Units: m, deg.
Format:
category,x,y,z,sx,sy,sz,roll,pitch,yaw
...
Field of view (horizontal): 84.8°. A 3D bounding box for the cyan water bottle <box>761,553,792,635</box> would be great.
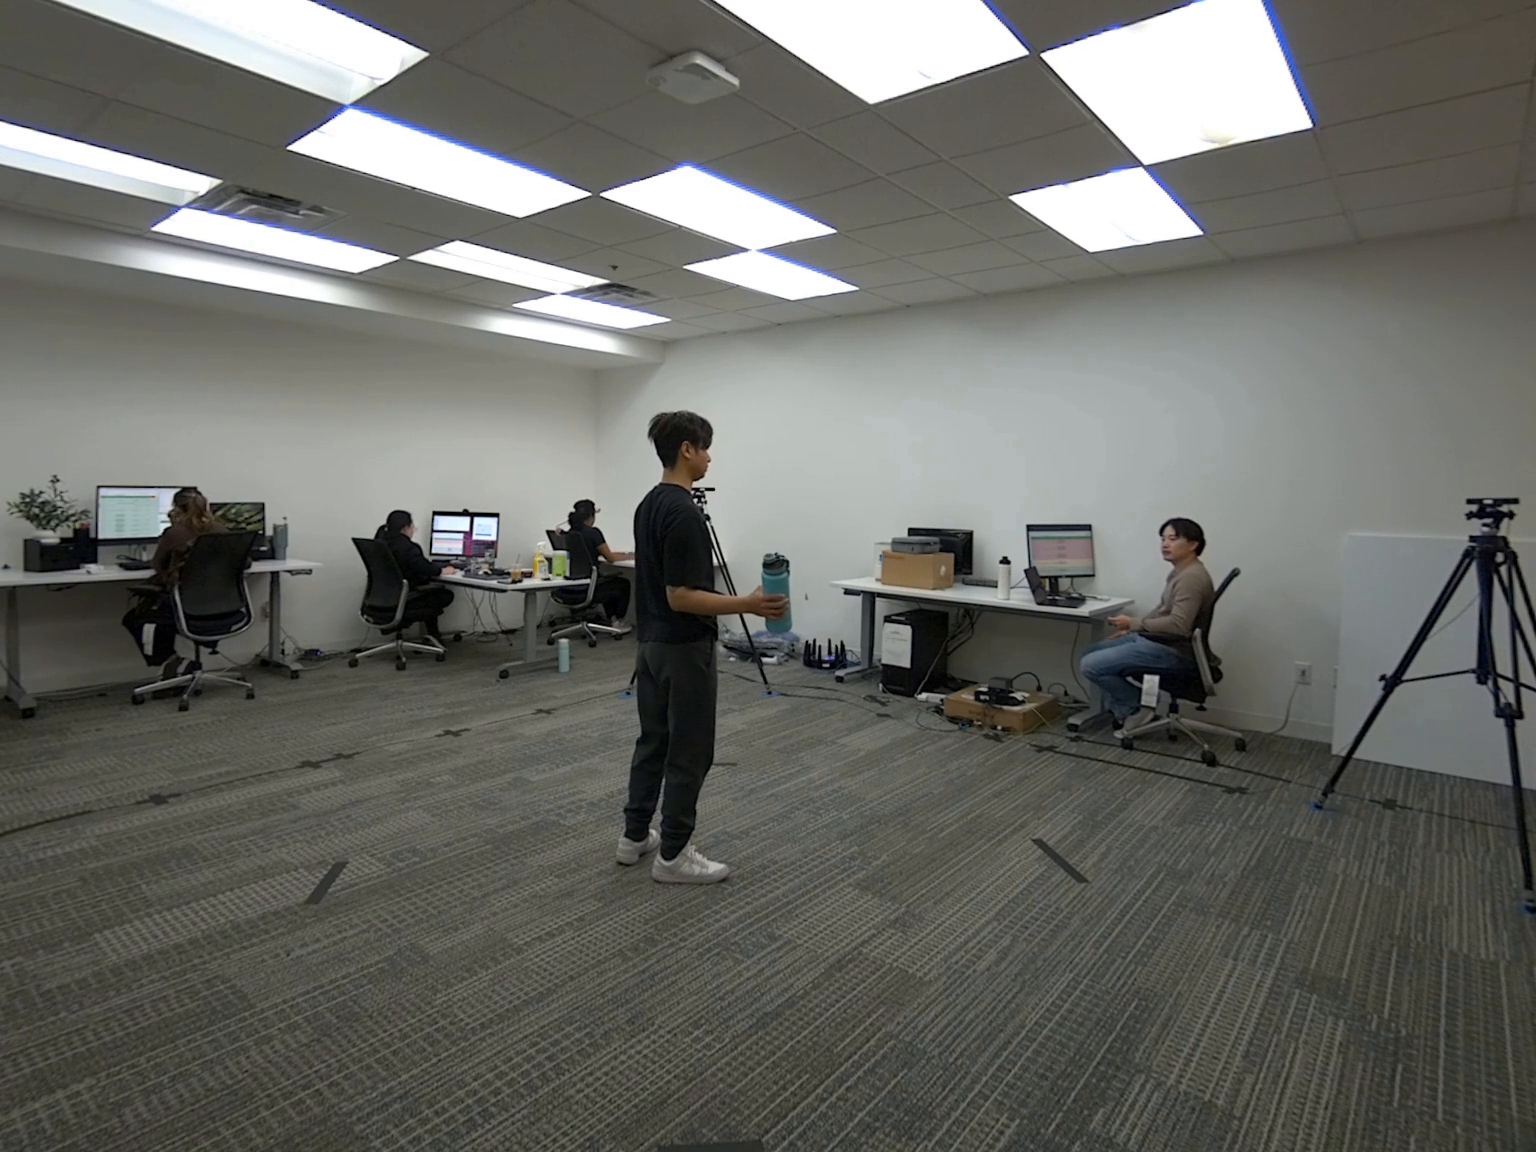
category,x,y,z,sx,sy,sz,roll,pitch,yaw
cyan water bottle,0.021,0.050,2.810,0.092,0.276,0.094,-2,27,-1
